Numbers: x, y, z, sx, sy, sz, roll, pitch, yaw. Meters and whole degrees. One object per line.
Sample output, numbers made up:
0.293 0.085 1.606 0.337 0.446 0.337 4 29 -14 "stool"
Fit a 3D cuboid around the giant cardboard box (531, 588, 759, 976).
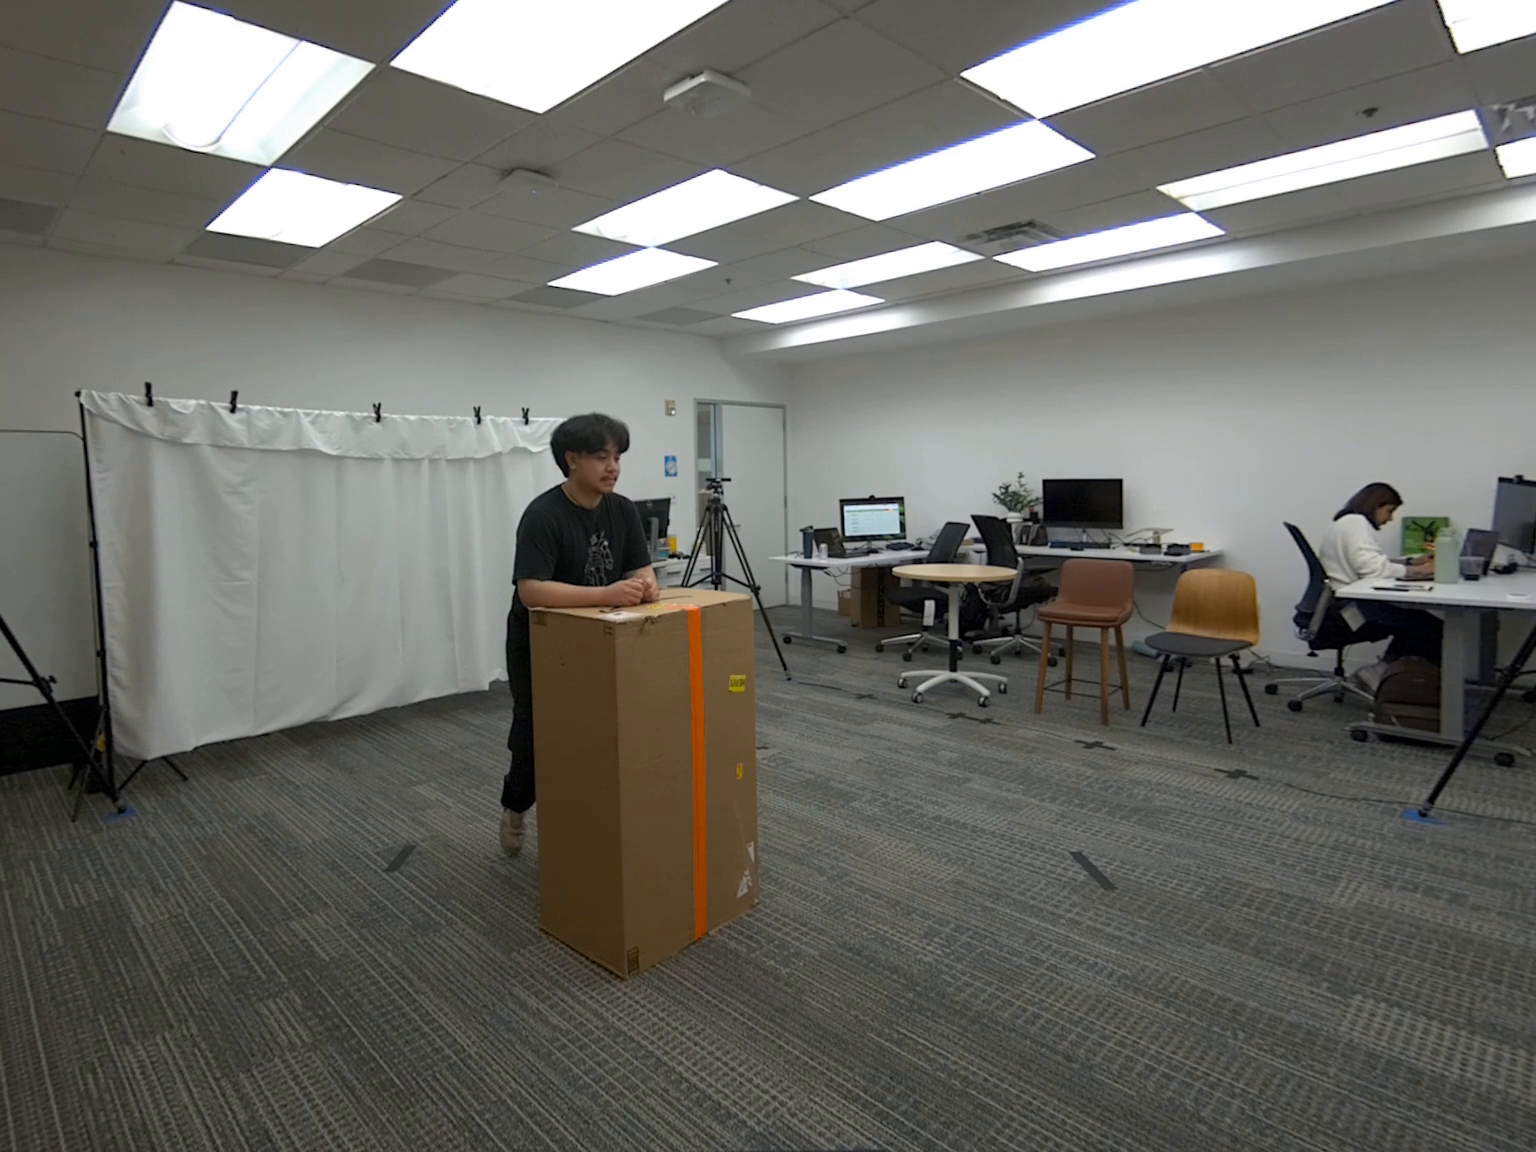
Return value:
-0.377 0.586 2.705 0.461 1.022 0.569 4 7 43 "giant cardboard box"
